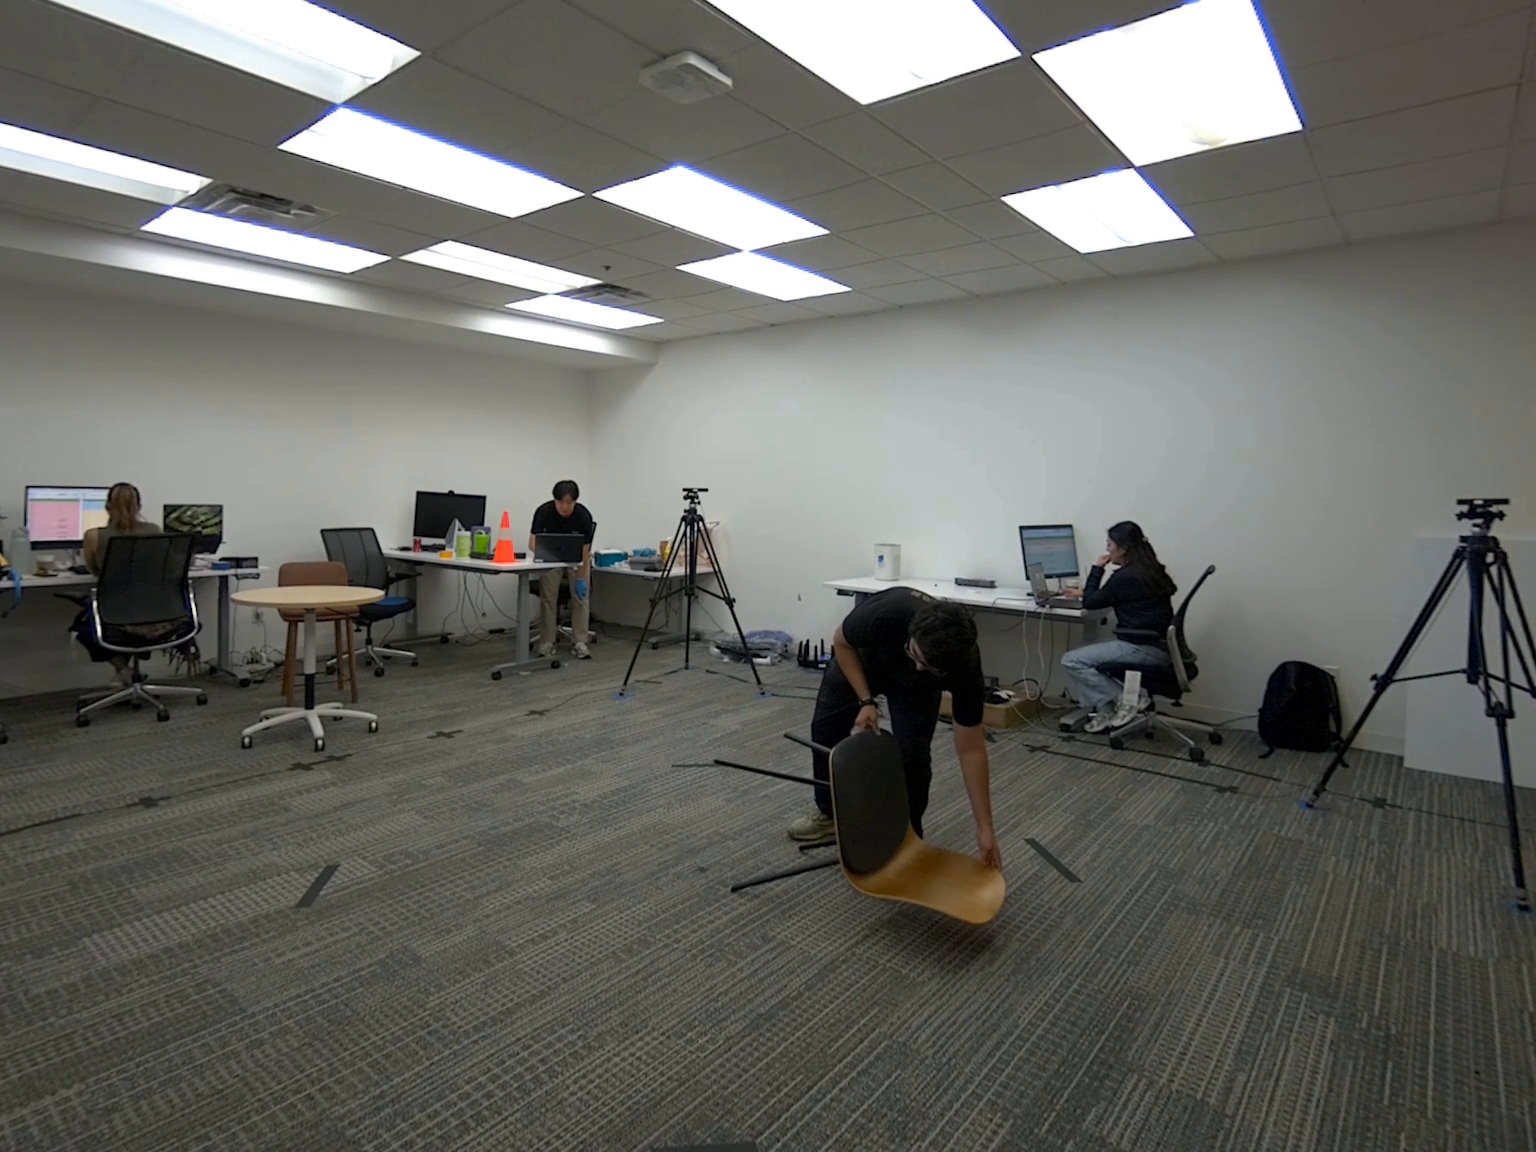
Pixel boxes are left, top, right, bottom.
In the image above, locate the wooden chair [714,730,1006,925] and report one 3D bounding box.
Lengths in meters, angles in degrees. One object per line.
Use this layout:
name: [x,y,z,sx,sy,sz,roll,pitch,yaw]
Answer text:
wooden chair: [0.307,0.798,2.860,0.903,0.523,0.464,-1,2,36]
